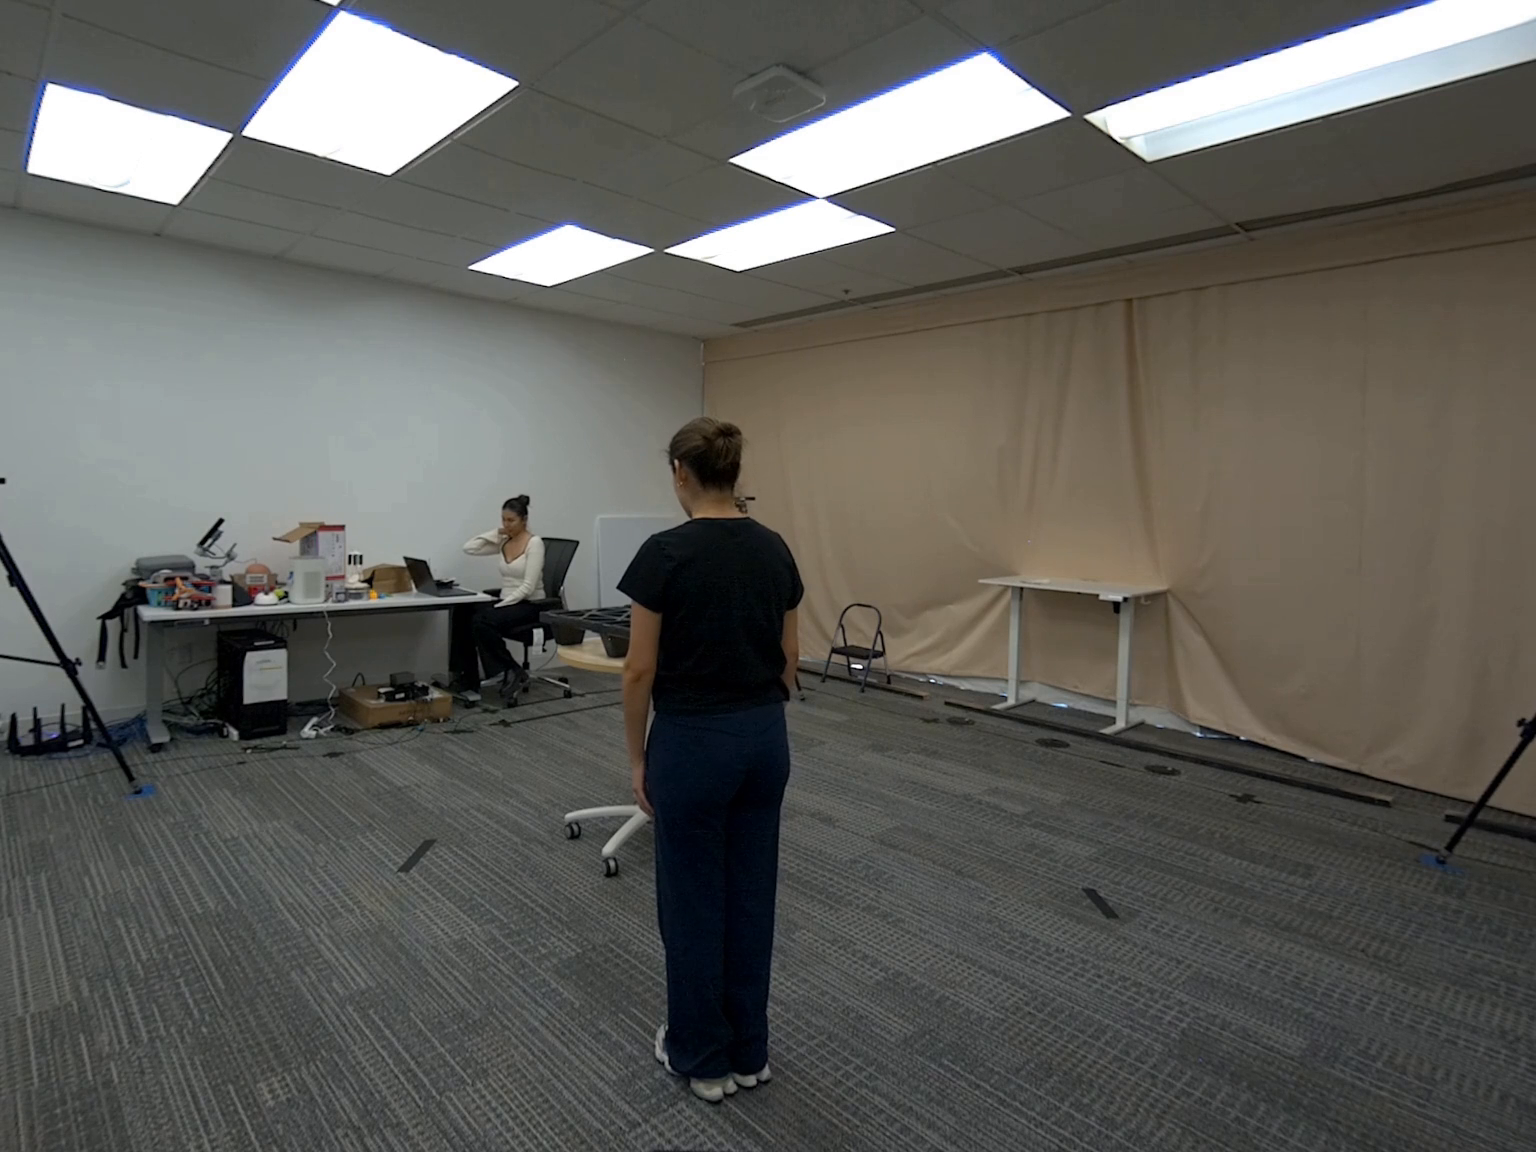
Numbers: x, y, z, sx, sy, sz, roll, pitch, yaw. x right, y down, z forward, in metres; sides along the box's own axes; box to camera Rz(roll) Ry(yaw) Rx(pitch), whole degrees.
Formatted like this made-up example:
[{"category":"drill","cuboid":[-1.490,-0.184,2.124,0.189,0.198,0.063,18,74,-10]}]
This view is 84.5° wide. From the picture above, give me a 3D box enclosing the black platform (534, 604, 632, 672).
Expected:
[{"category":"black platform","cuboid":[-0.435,0.240,3.328,0.826,0.143,0.591,7,7,43]}]
